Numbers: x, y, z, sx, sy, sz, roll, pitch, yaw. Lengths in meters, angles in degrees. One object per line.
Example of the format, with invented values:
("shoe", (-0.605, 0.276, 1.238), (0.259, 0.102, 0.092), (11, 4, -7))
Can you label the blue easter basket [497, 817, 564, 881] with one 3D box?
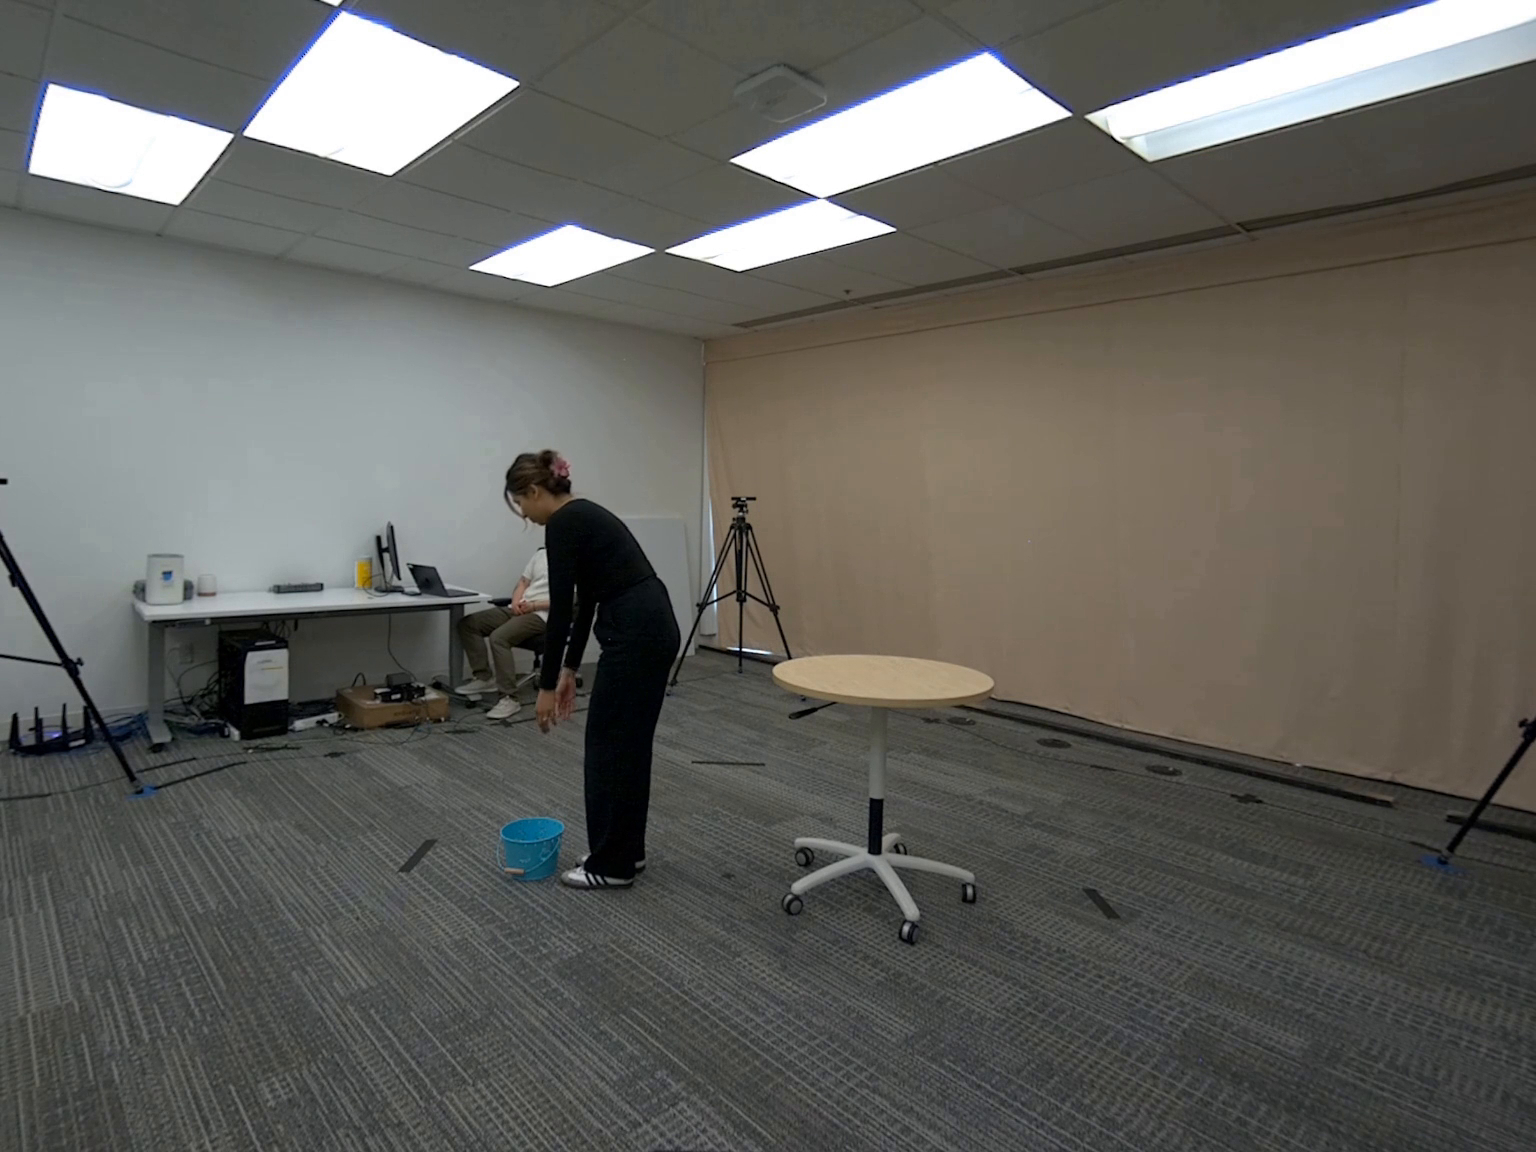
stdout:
("blue easter basket", (-0.875, 1.008, 3.114), (0.243, 0.155, 0.244), (1, 5, -1))
